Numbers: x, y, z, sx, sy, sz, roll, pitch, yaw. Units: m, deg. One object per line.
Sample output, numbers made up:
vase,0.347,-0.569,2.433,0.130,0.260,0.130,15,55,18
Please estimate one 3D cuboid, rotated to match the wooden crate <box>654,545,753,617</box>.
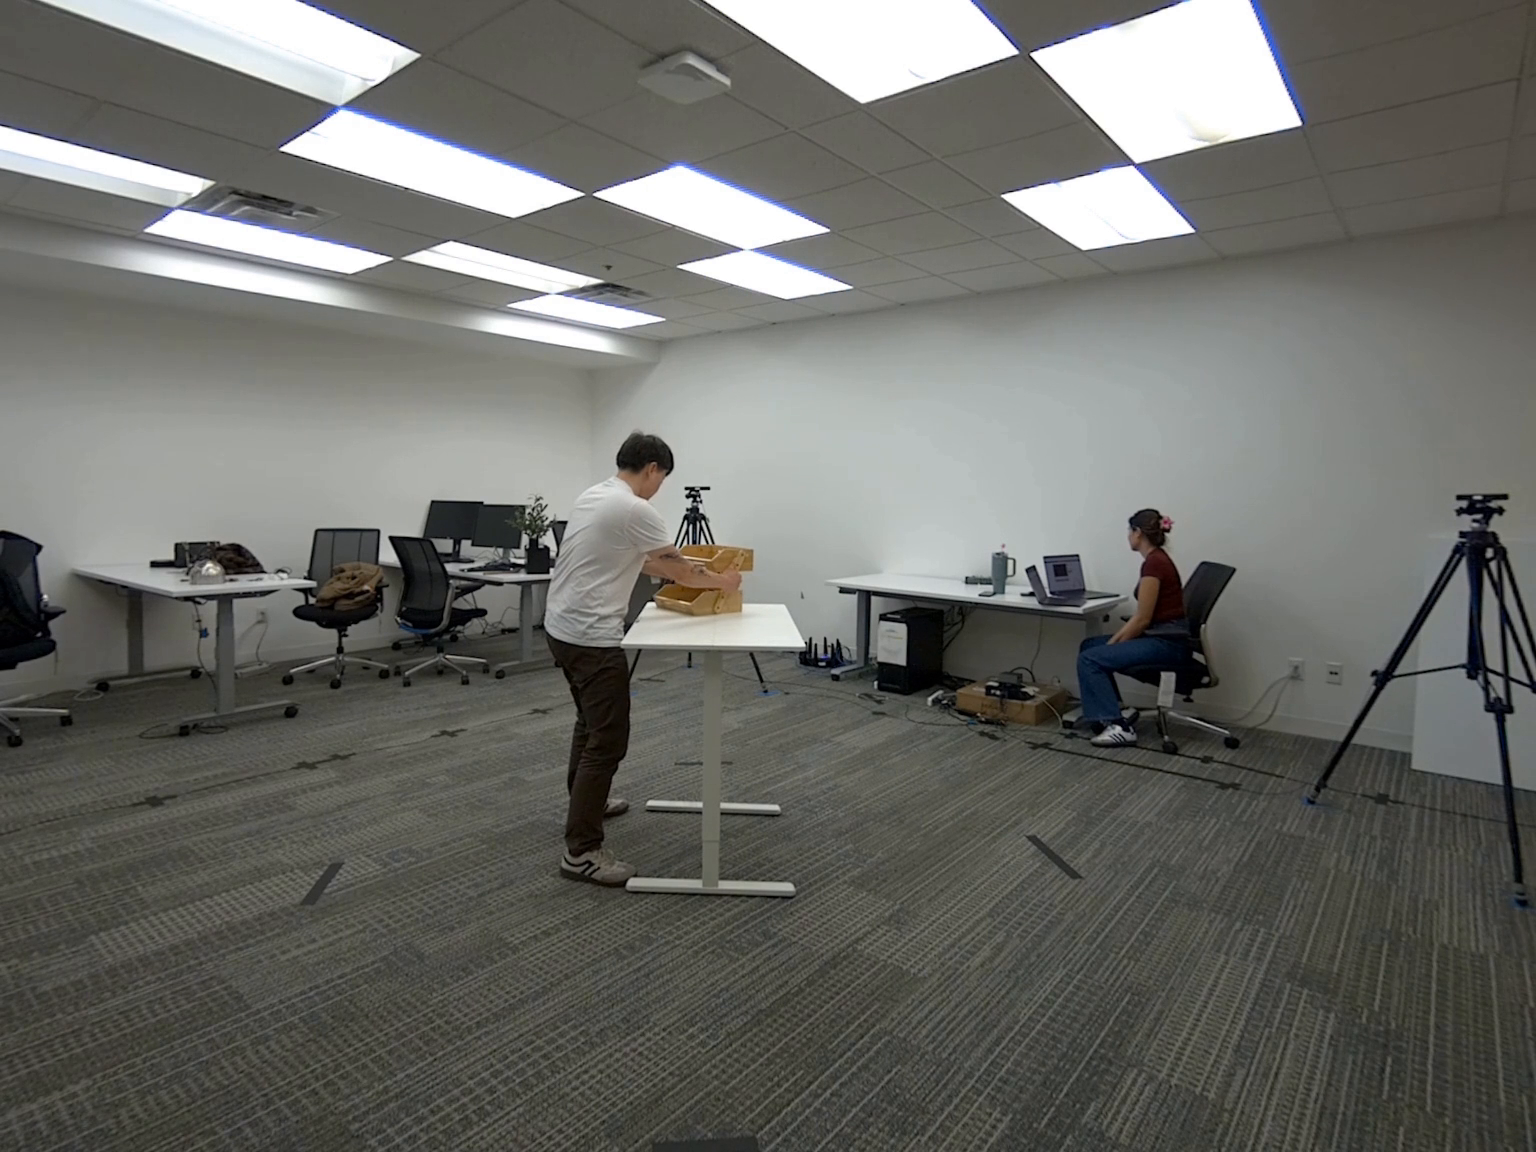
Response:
wooden crate,-0.279,0.006,3.554,0.293,0.272,0.335,-1,5,-36
